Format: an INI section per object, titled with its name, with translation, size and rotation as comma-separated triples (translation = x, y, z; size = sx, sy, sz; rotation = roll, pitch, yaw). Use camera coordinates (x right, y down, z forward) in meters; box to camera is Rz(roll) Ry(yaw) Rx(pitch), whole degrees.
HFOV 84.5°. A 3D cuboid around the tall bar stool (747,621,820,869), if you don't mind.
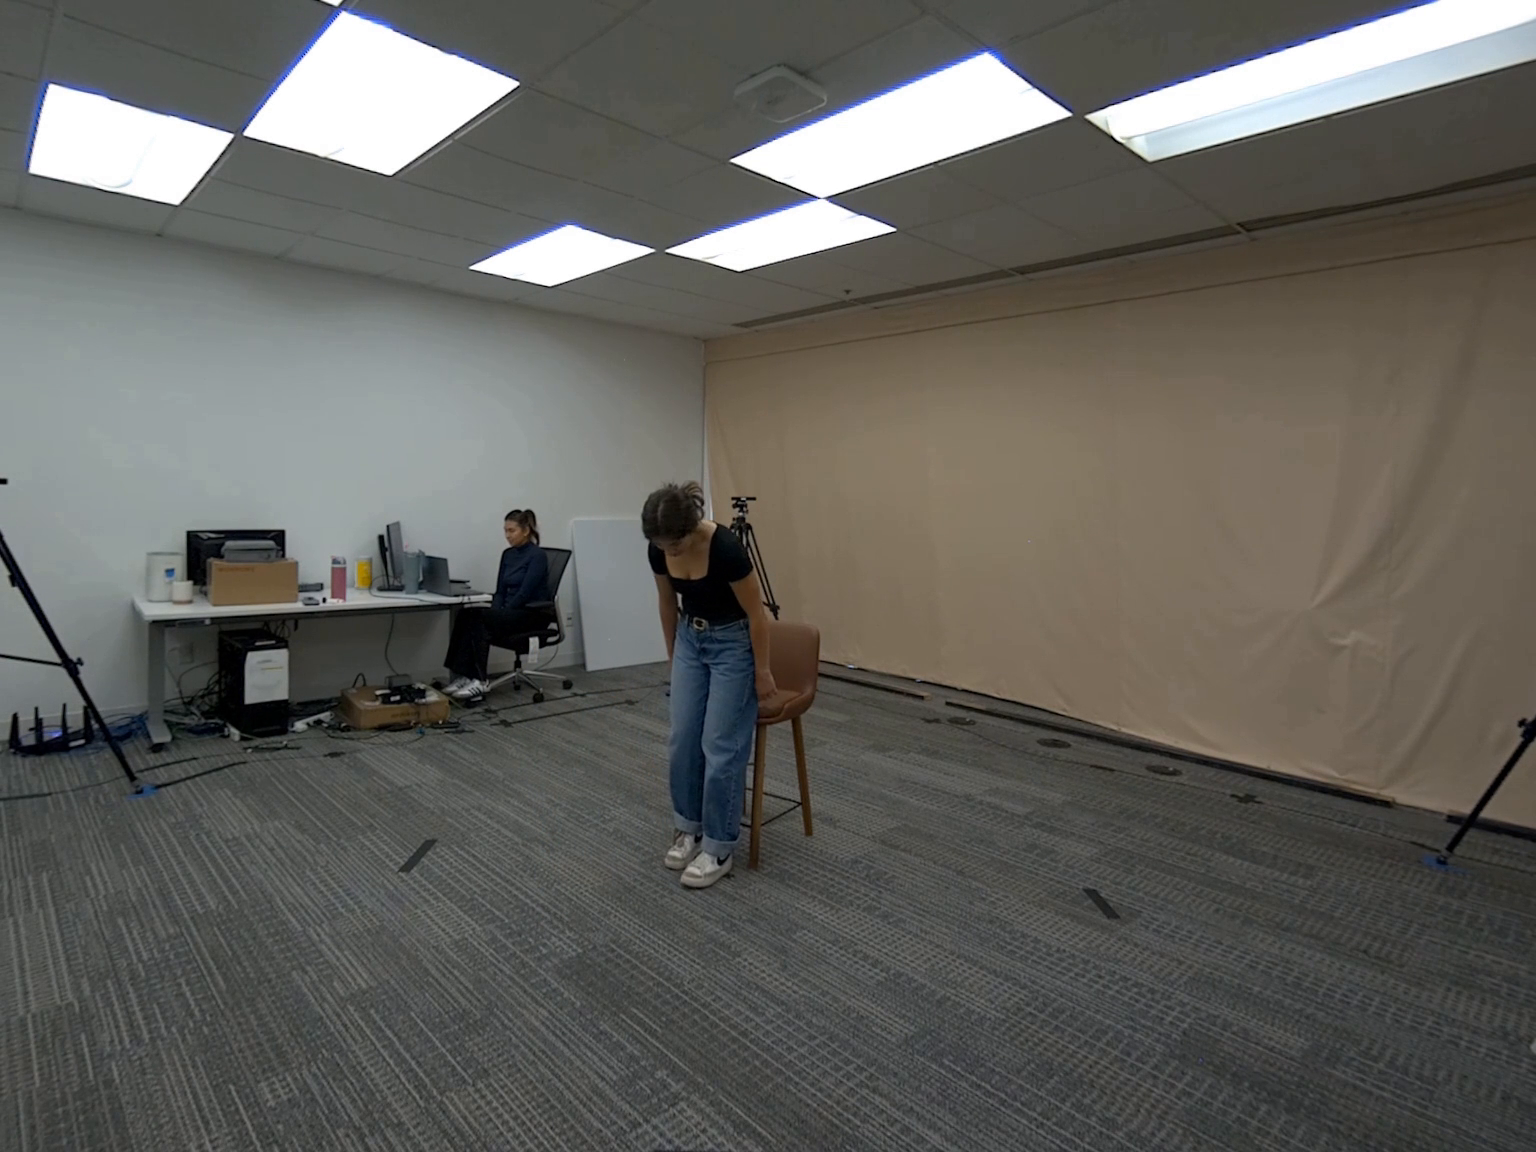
[tall bar stool]
translation = -0.078, 0.651, 3.432
size = 0.467, 0.888, 0.457
rotation = 4, 2, 36
